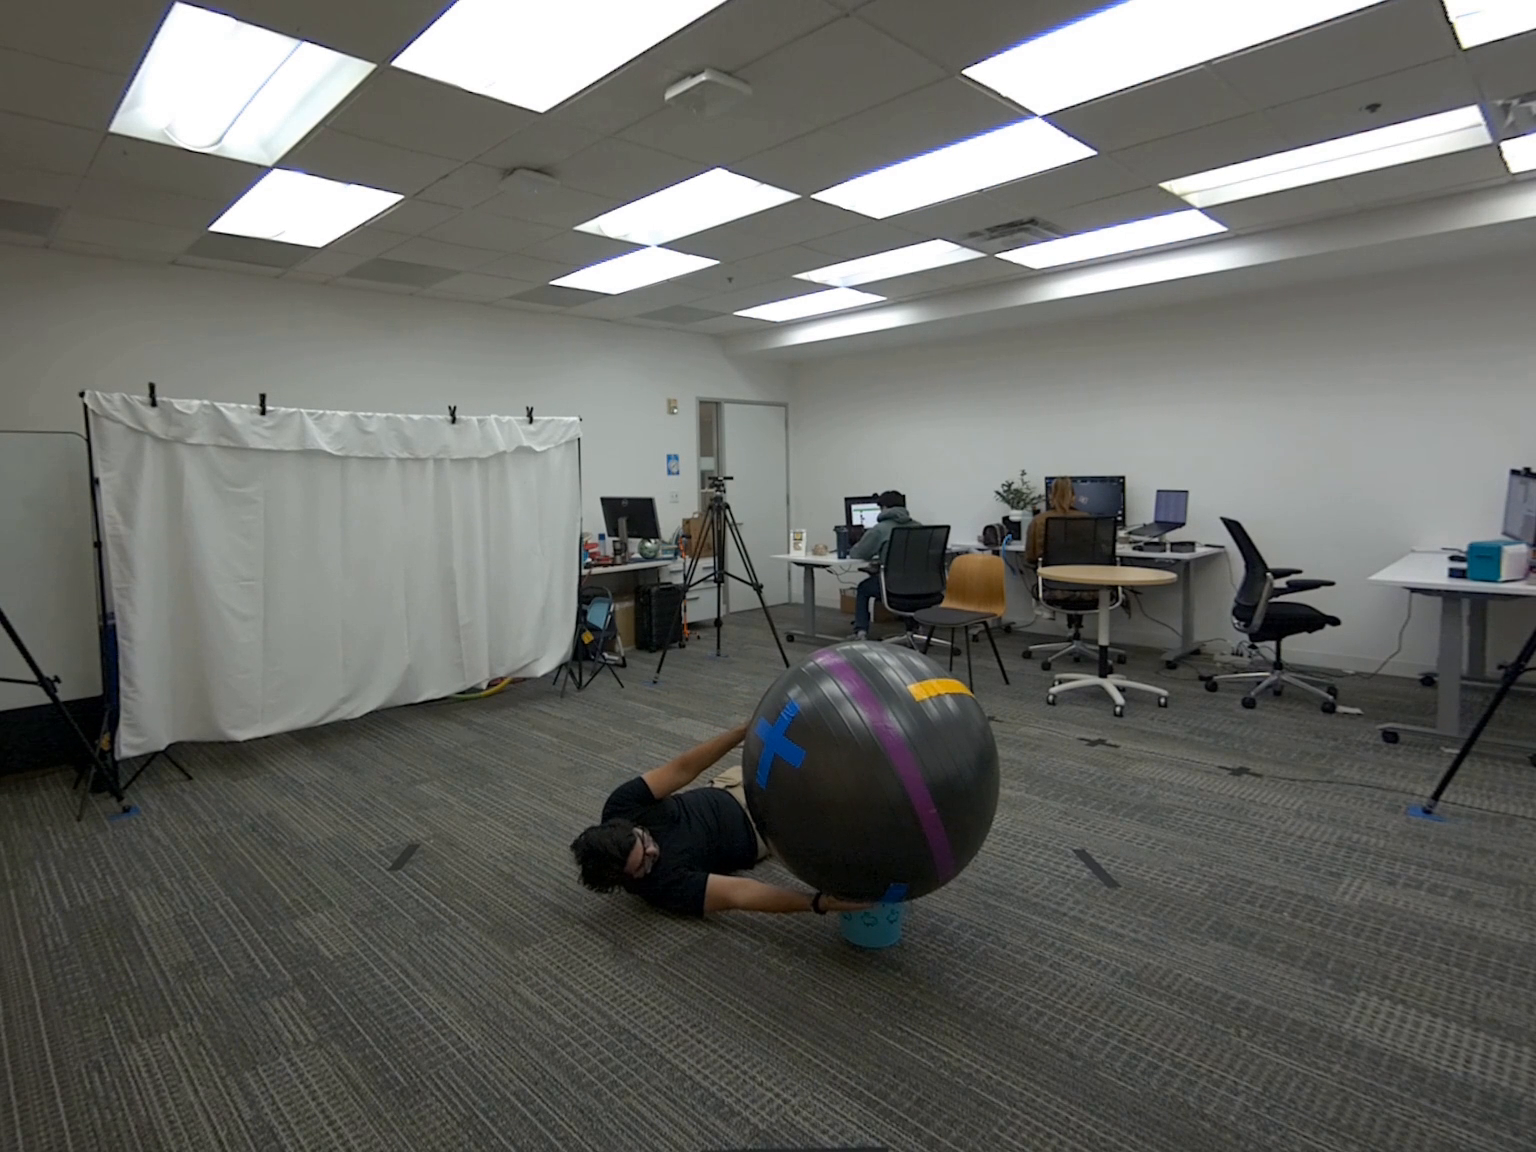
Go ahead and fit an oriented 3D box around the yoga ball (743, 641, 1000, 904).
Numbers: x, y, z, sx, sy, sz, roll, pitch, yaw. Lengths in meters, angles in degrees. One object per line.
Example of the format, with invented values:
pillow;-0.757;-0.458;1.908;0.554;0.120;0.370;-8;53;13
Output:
yoga ball;0.303;0.580;2.564;0.757;0.755;0.761;-1;4;-2
